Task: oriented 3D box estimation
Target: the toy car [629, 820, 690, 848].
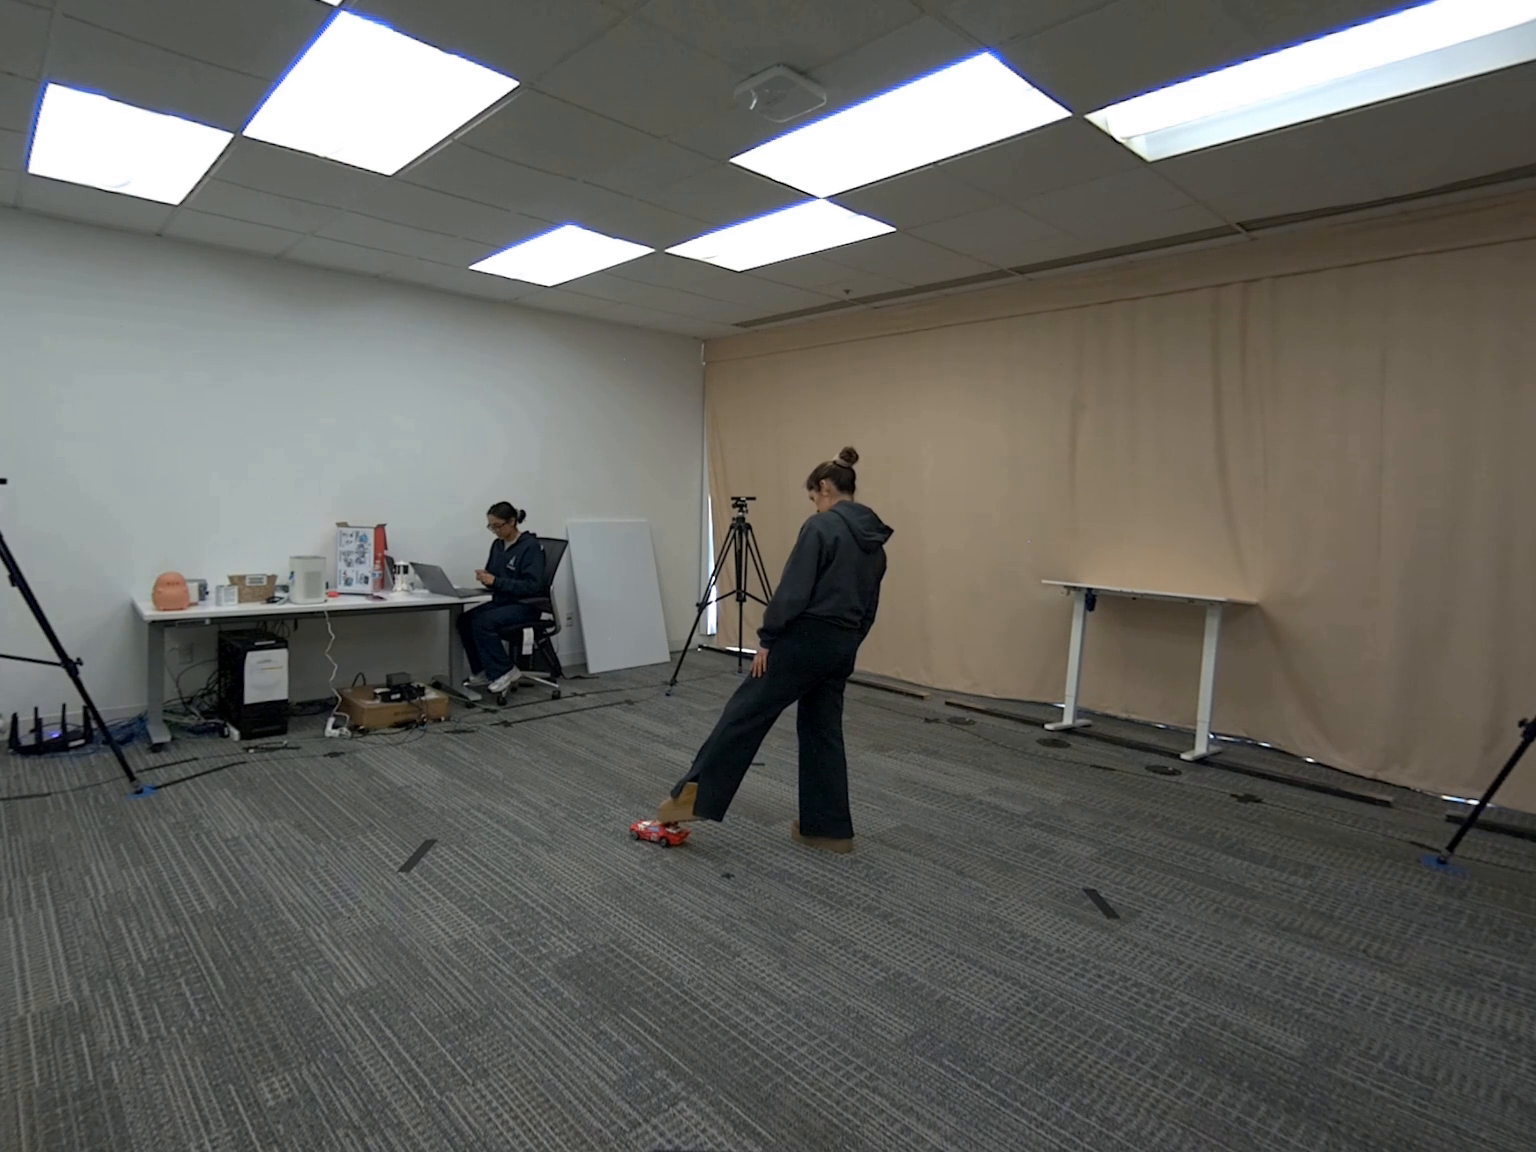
[{"bbox_3d":[-0.445,1.040,3.420,0.259,0.083,0.128,-7,1,27],"label":"toy car"}]
